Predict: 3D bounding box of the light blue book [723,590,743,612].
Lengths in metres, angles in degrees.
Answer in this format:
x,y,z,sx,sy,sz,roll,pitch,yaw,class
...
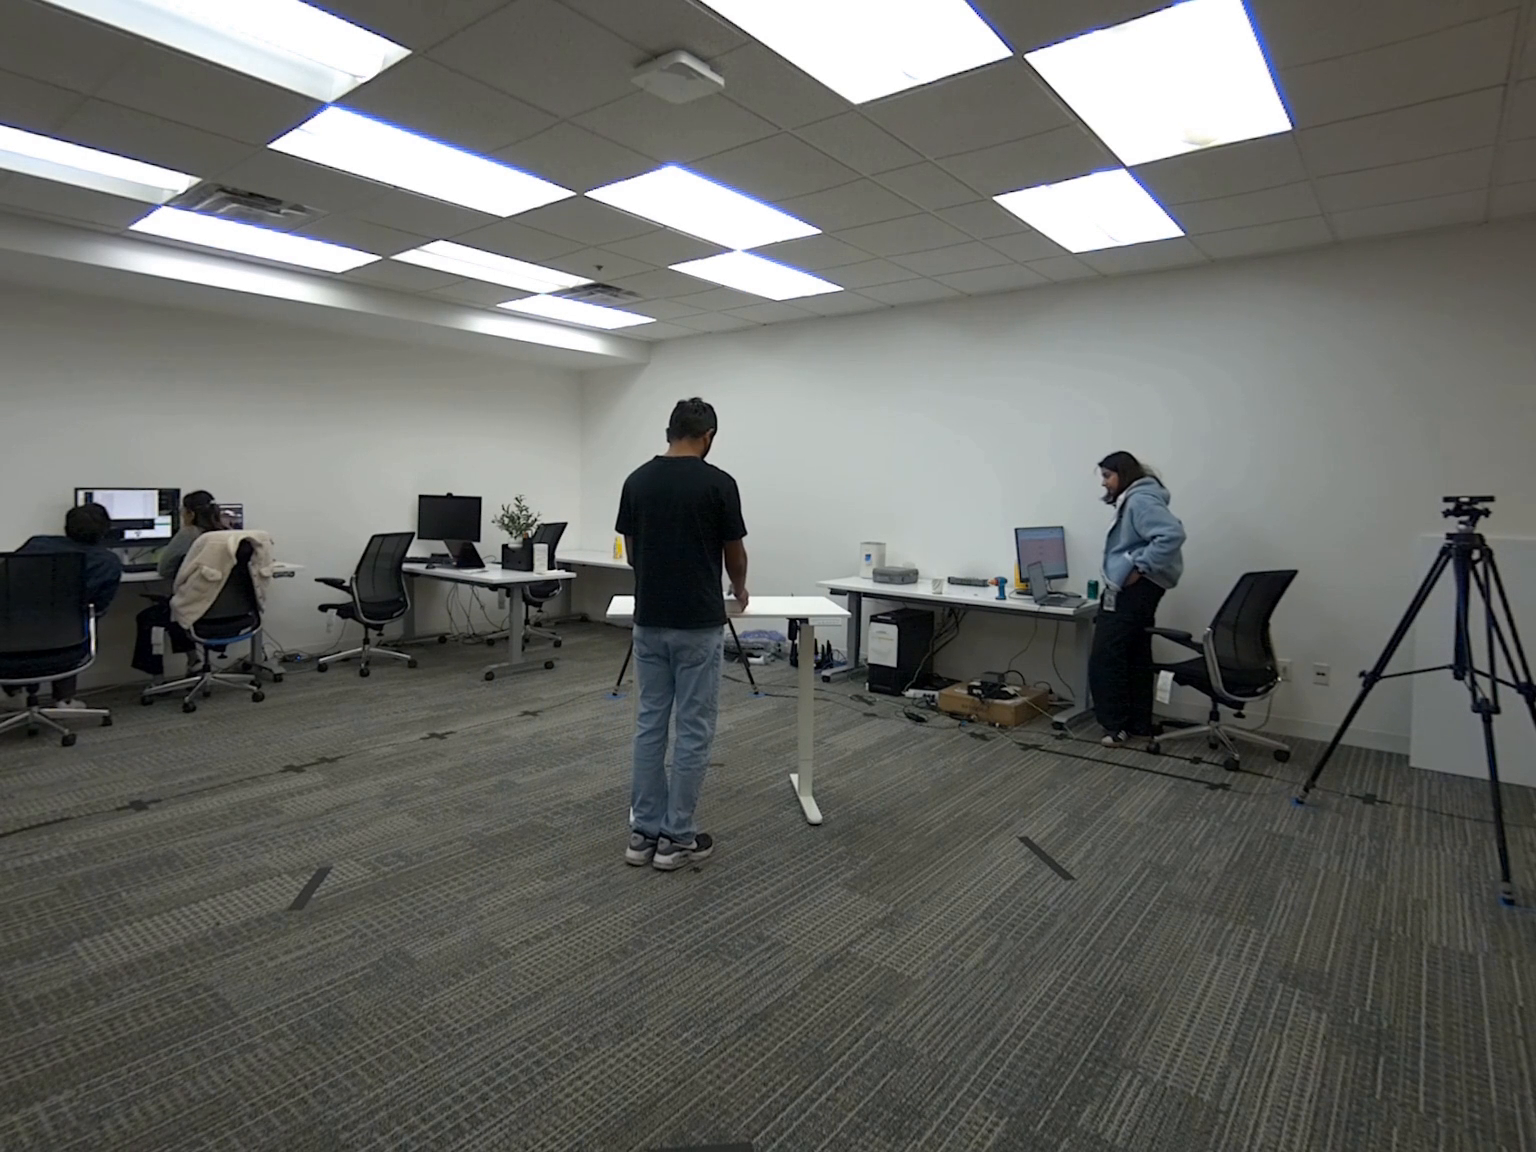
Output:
x,y,z,sx,sy,sz,roll,pitch,yaw,class
-0.223,0.106,3.616,0.190,0.059,0.264,-1,6,-8,light blue book
